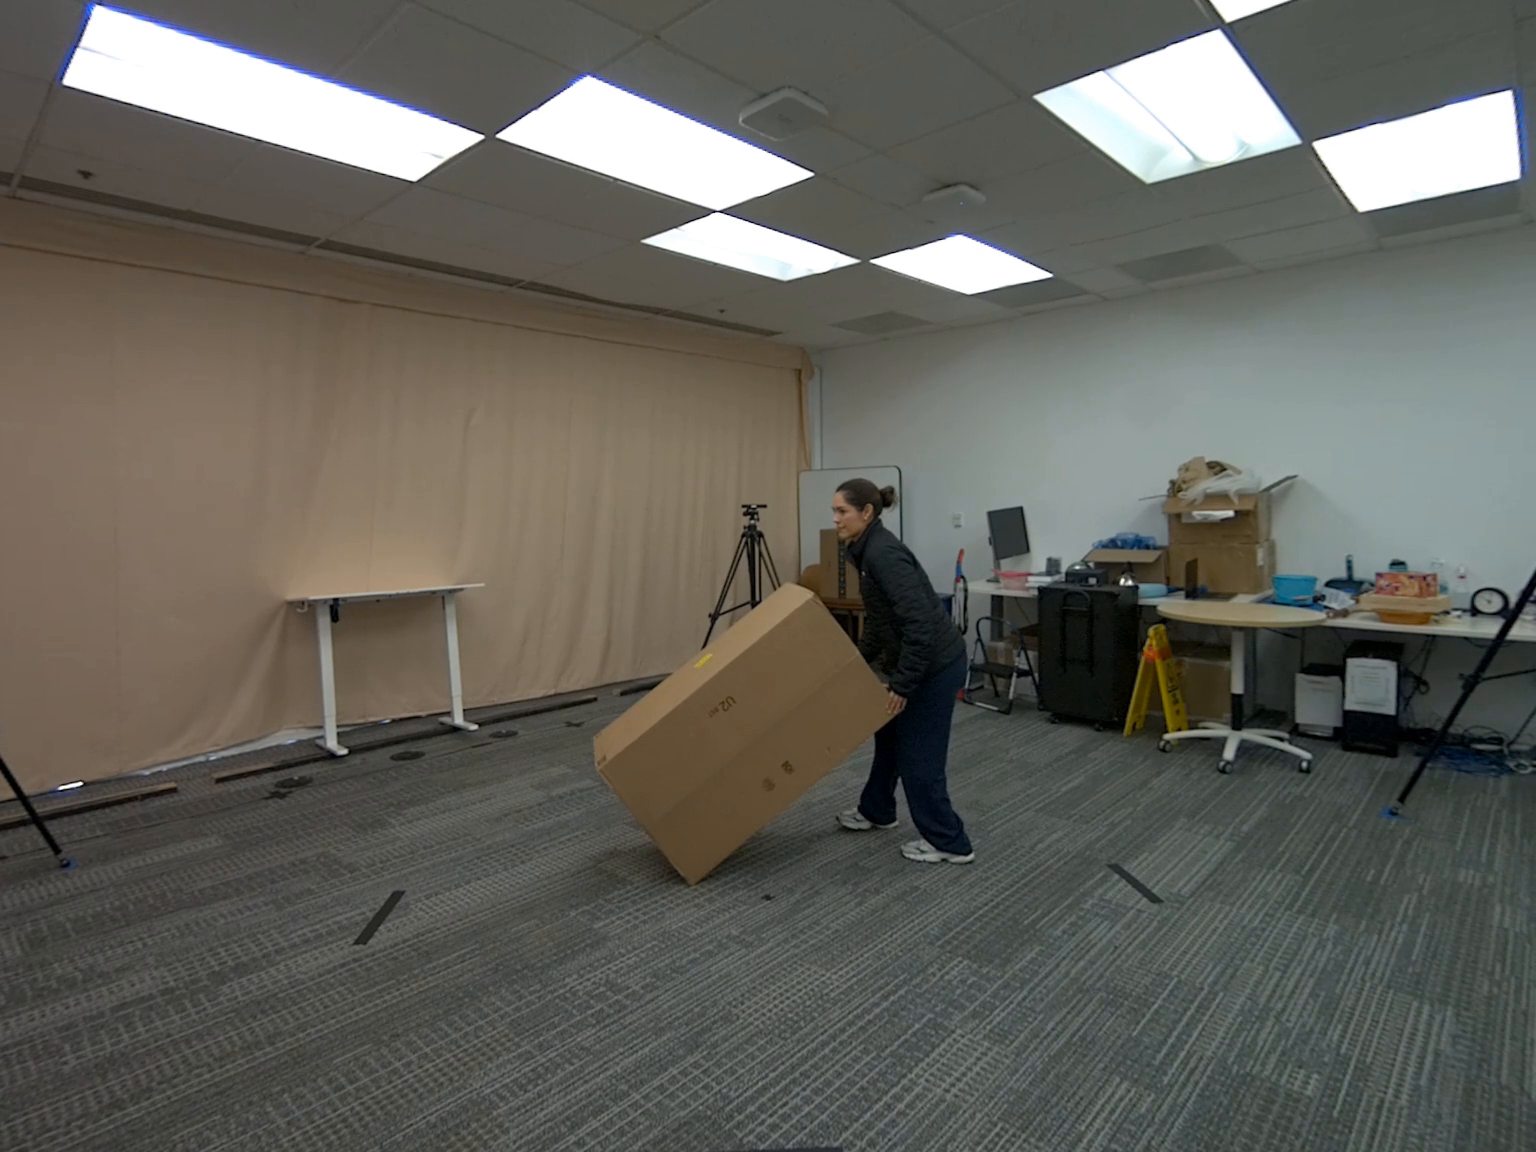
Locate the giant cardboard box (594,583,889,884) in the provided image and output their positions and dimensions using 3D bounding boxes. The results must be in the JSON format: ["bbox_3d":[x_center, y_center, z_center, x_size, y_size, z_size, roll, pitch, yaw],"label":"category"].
[{"bbox_3d":[-0.101,0.587,3.301,1.024,0.578,0.453,-39,10,-6],"label":"giant cardboard box"}]
